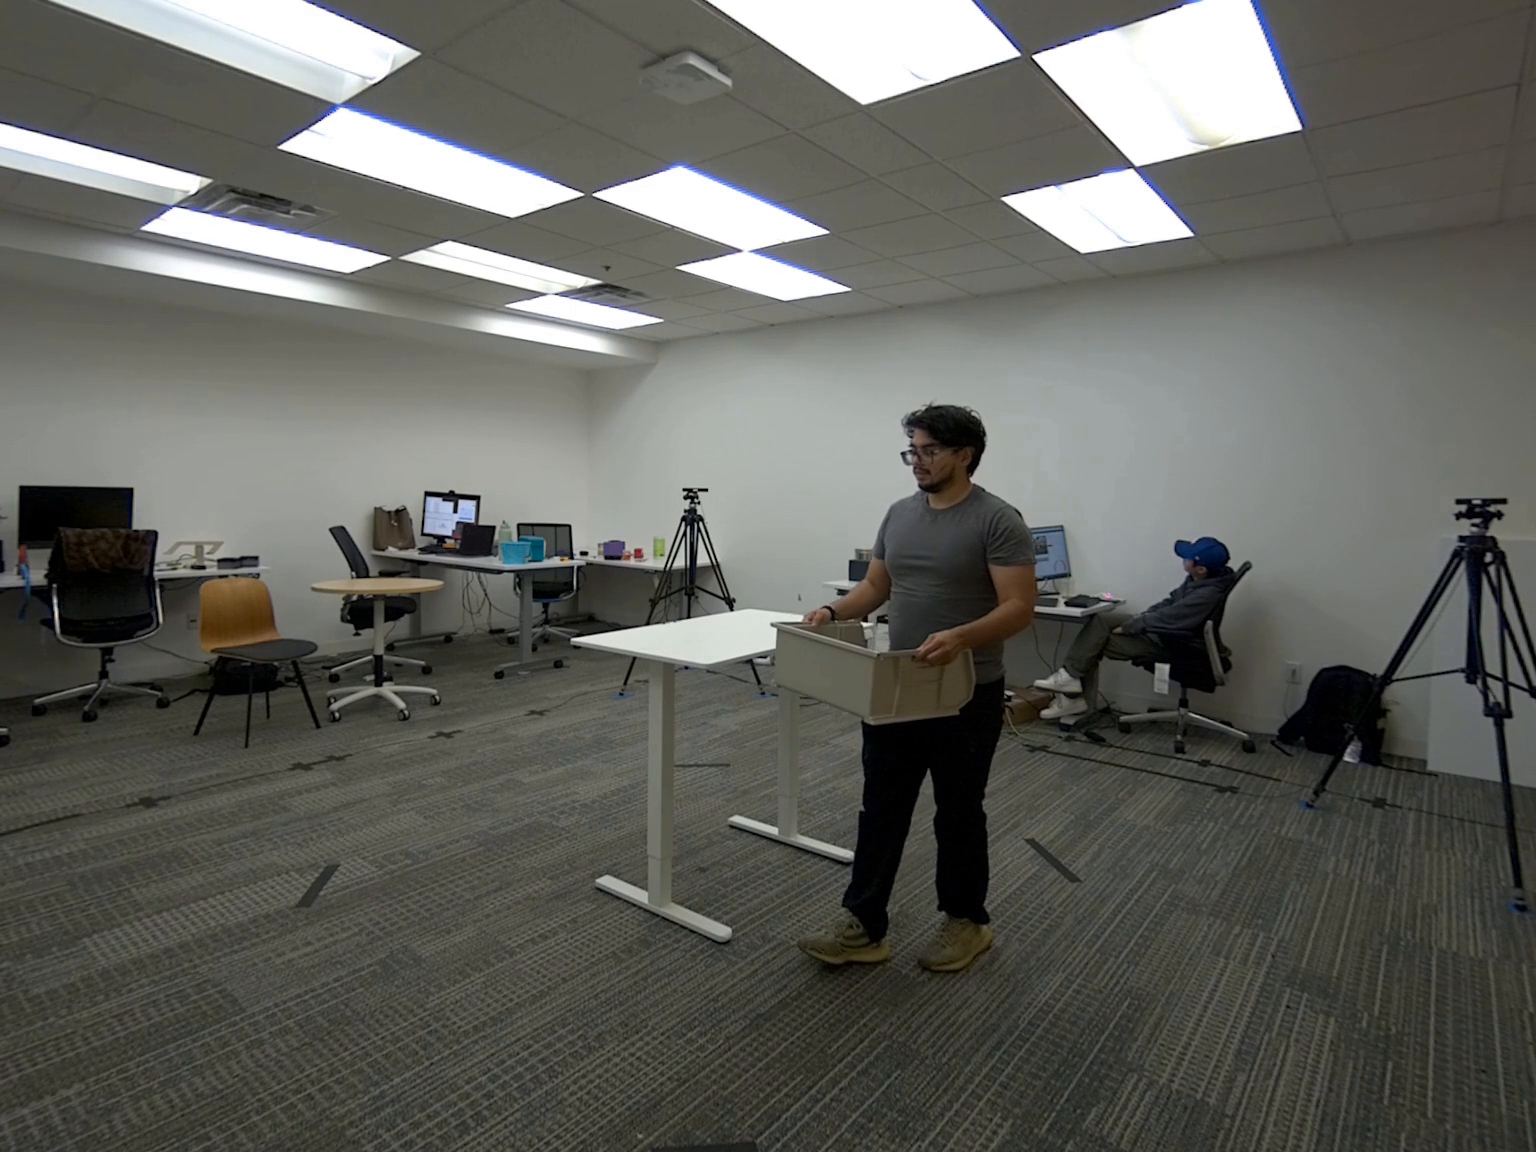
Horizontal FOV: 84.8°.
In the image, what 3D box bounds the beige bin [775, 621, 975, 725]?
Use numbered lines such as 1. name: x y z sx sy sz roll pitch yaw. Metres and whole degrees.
1. beige bin: 0.271 0.241 2.313 0.366 0.188 0.437 -1 8 -36
